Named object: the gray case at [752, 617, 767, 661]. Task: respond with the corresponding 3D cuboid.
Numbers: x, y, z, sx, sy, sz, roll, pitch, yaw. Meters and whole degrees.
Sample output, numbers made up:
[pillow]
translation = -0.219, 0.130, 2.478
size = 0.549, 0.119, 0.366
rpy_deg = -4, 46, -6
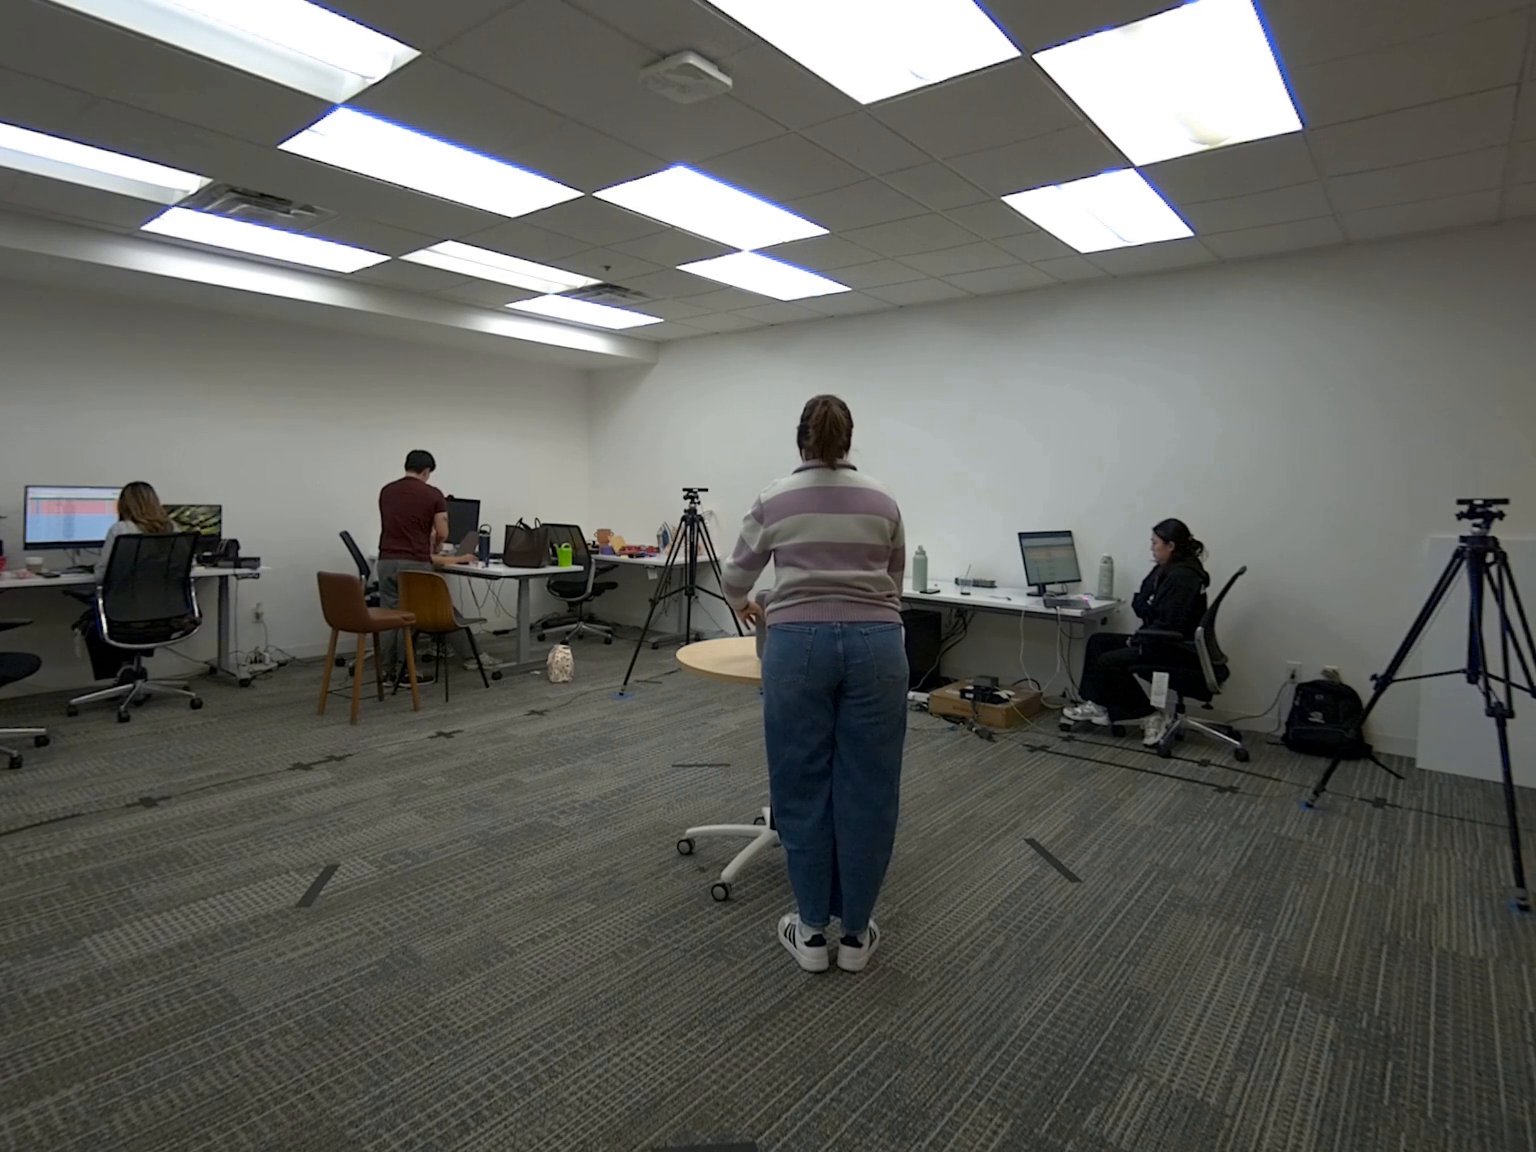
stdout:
[gray case]
translation = 0.078, 0.168, 3.013
size = 0.260, 0.259, 0.103
rpy_deg = 1, 5, 13
